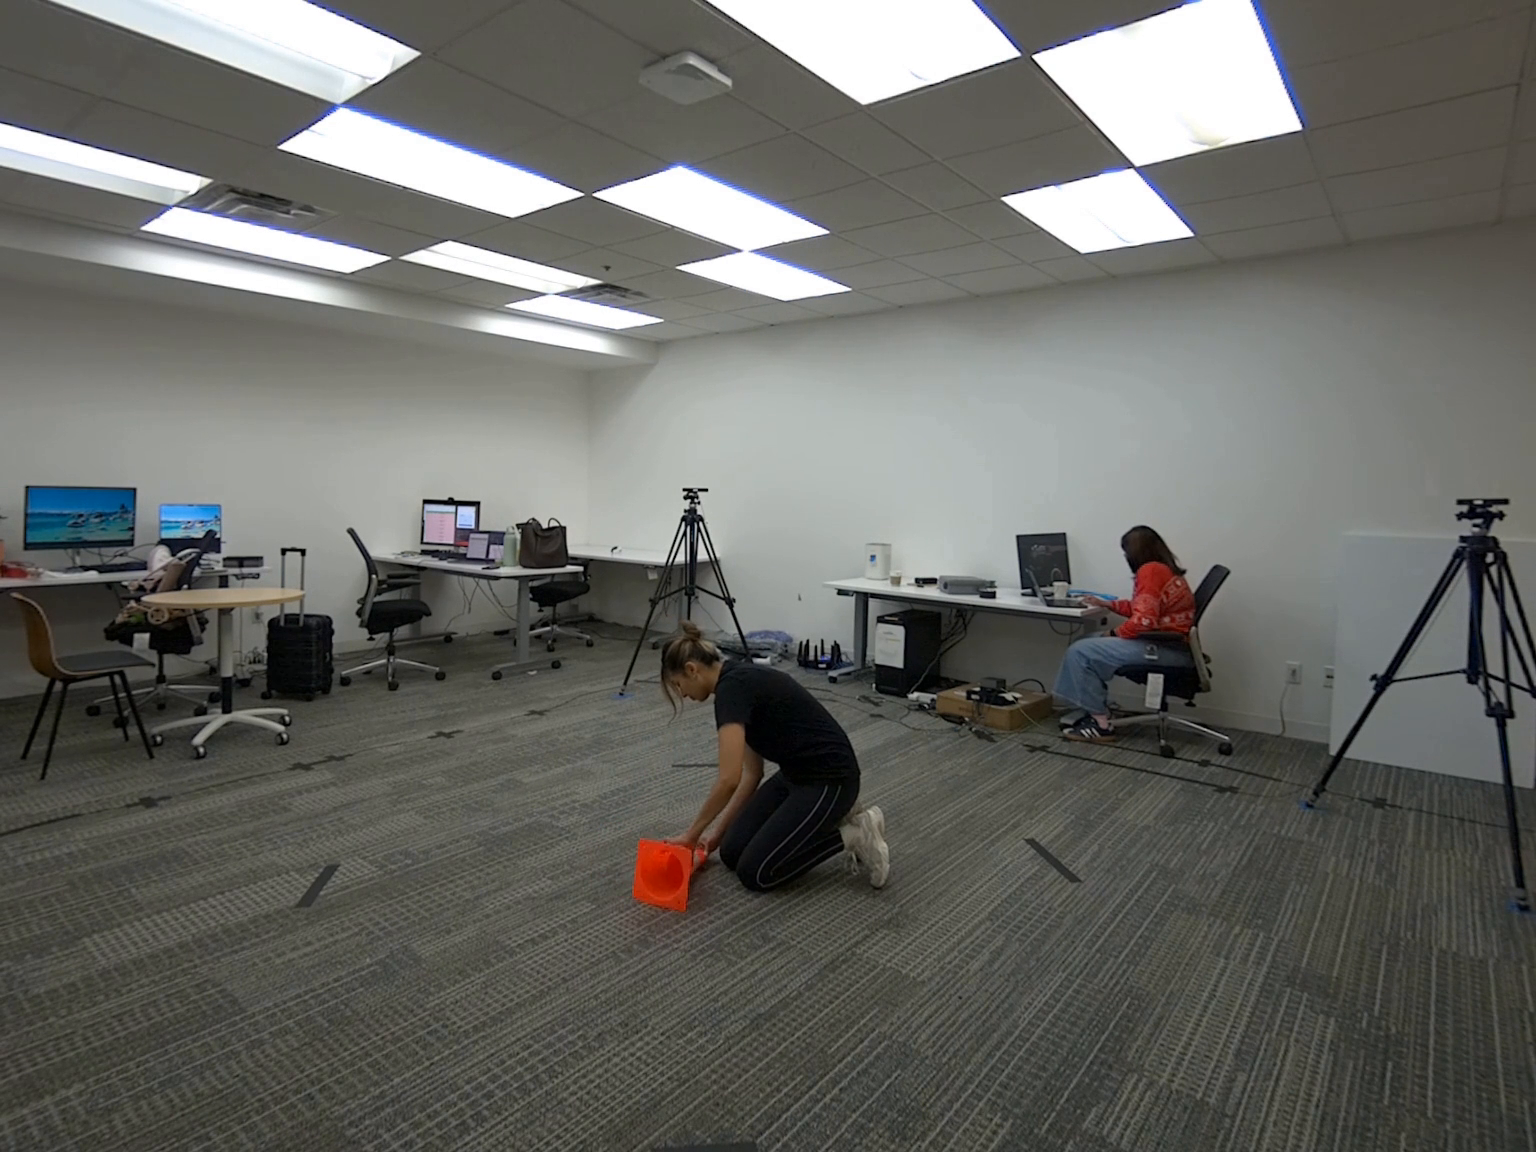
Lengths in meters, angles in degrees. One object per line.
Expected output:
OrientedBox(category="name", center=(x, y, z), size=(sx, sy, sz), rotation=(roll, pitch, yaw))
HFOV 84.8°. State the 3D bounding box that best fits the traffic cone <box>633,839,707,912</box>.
OrientedBox(category="traffic cone", center=(-0.320, 1.006, 3.014), size=(0.207, 0.206, 0.374), rotation=(5, -5, 18))
